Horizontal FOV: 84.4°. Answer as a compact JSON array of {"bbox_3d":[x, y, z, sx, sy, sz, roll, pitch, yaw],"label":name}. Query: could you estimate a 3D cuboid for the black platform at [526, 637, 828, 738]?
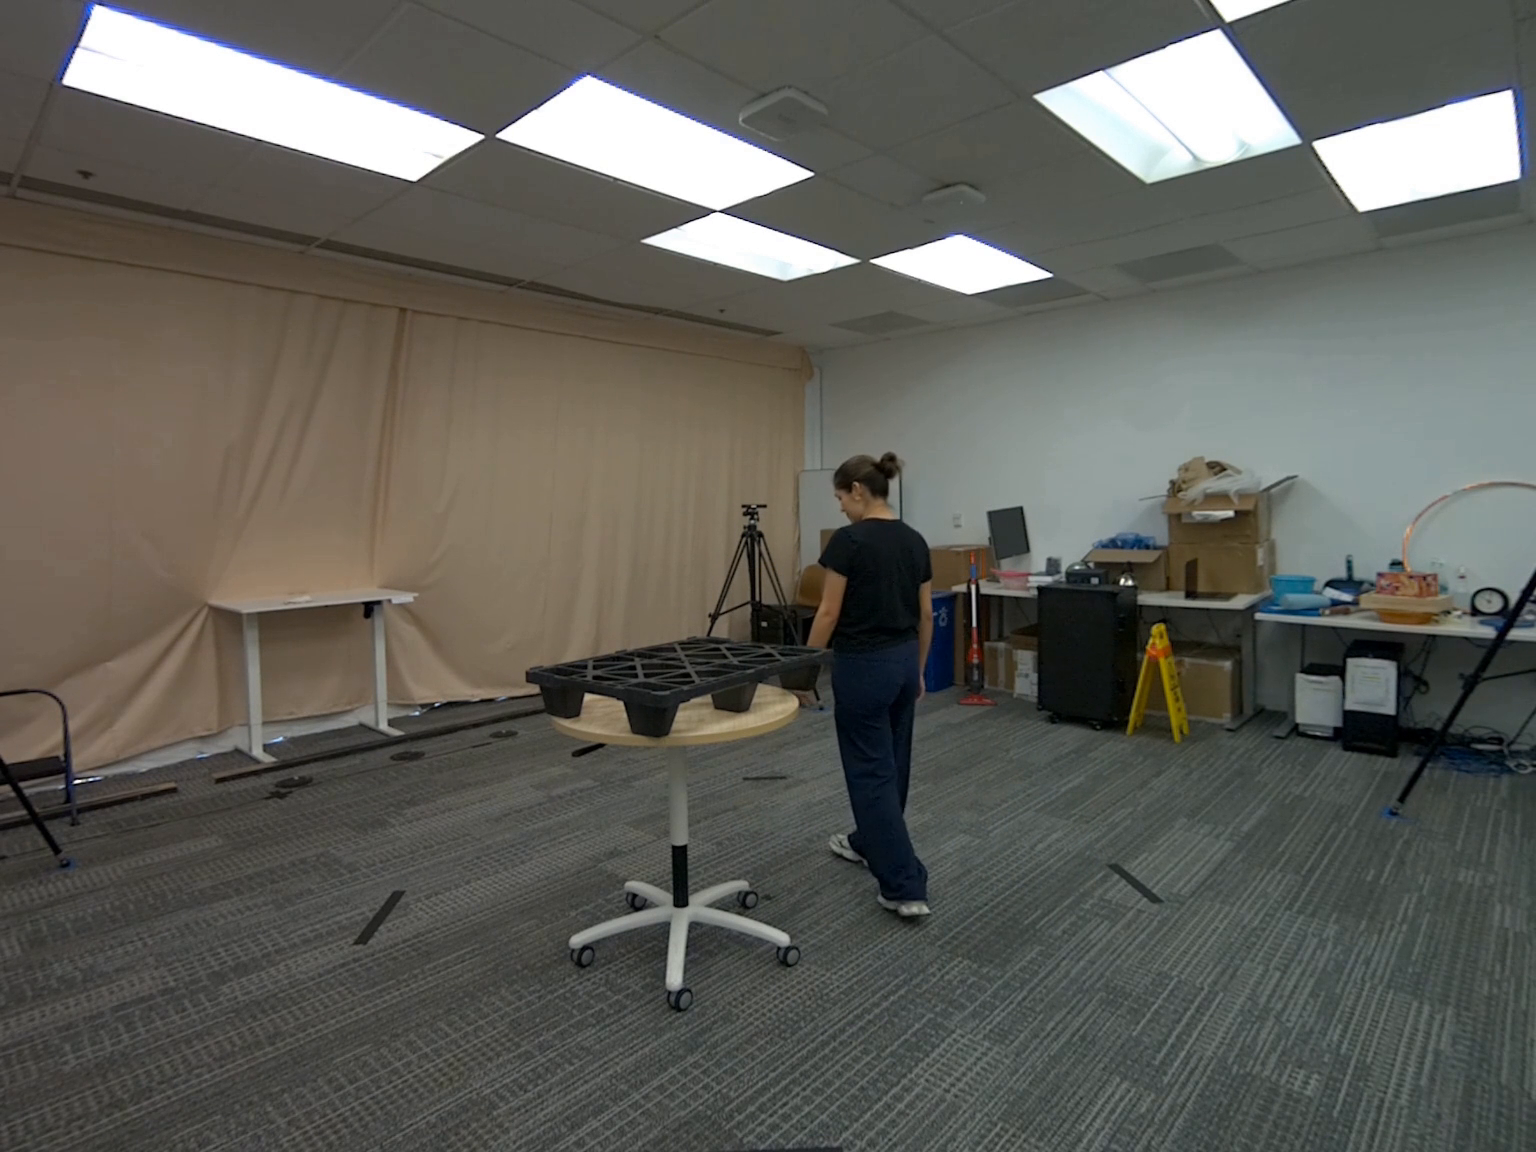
[{"bbox_3d":[-0.251,0.329,2.637,0.625,0.143,0.781,2,5,40],"label":"black platform"}]
